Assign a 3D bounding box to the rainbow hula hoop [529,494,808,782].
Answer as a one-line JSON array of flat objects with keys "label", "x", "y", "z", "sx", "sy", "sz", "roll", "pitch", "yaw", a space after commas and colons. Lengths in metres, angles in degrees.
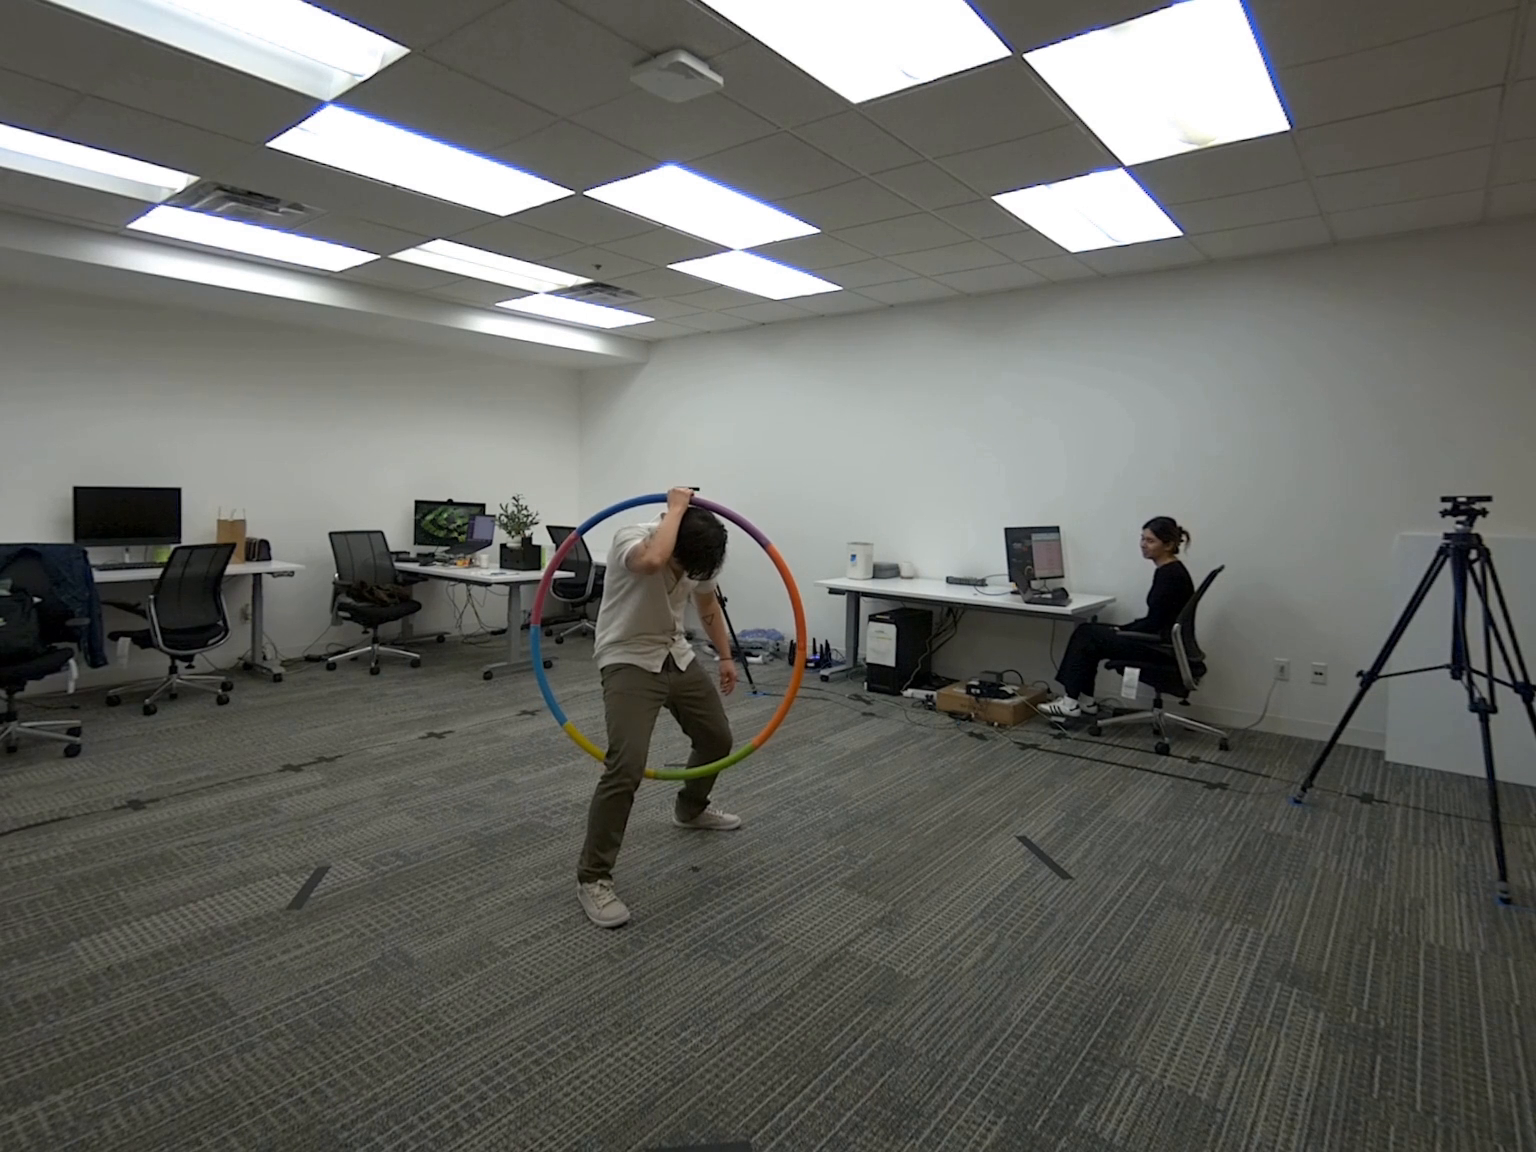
[{"label": "rainbow hula hoop", "x": -0.364, "y": 0.200, "z": 2.945, "sx": 0.989, "sy": 0.978, "sz": 0.035, "roll": 1, "pitch": 0, "yaw": 9}]
